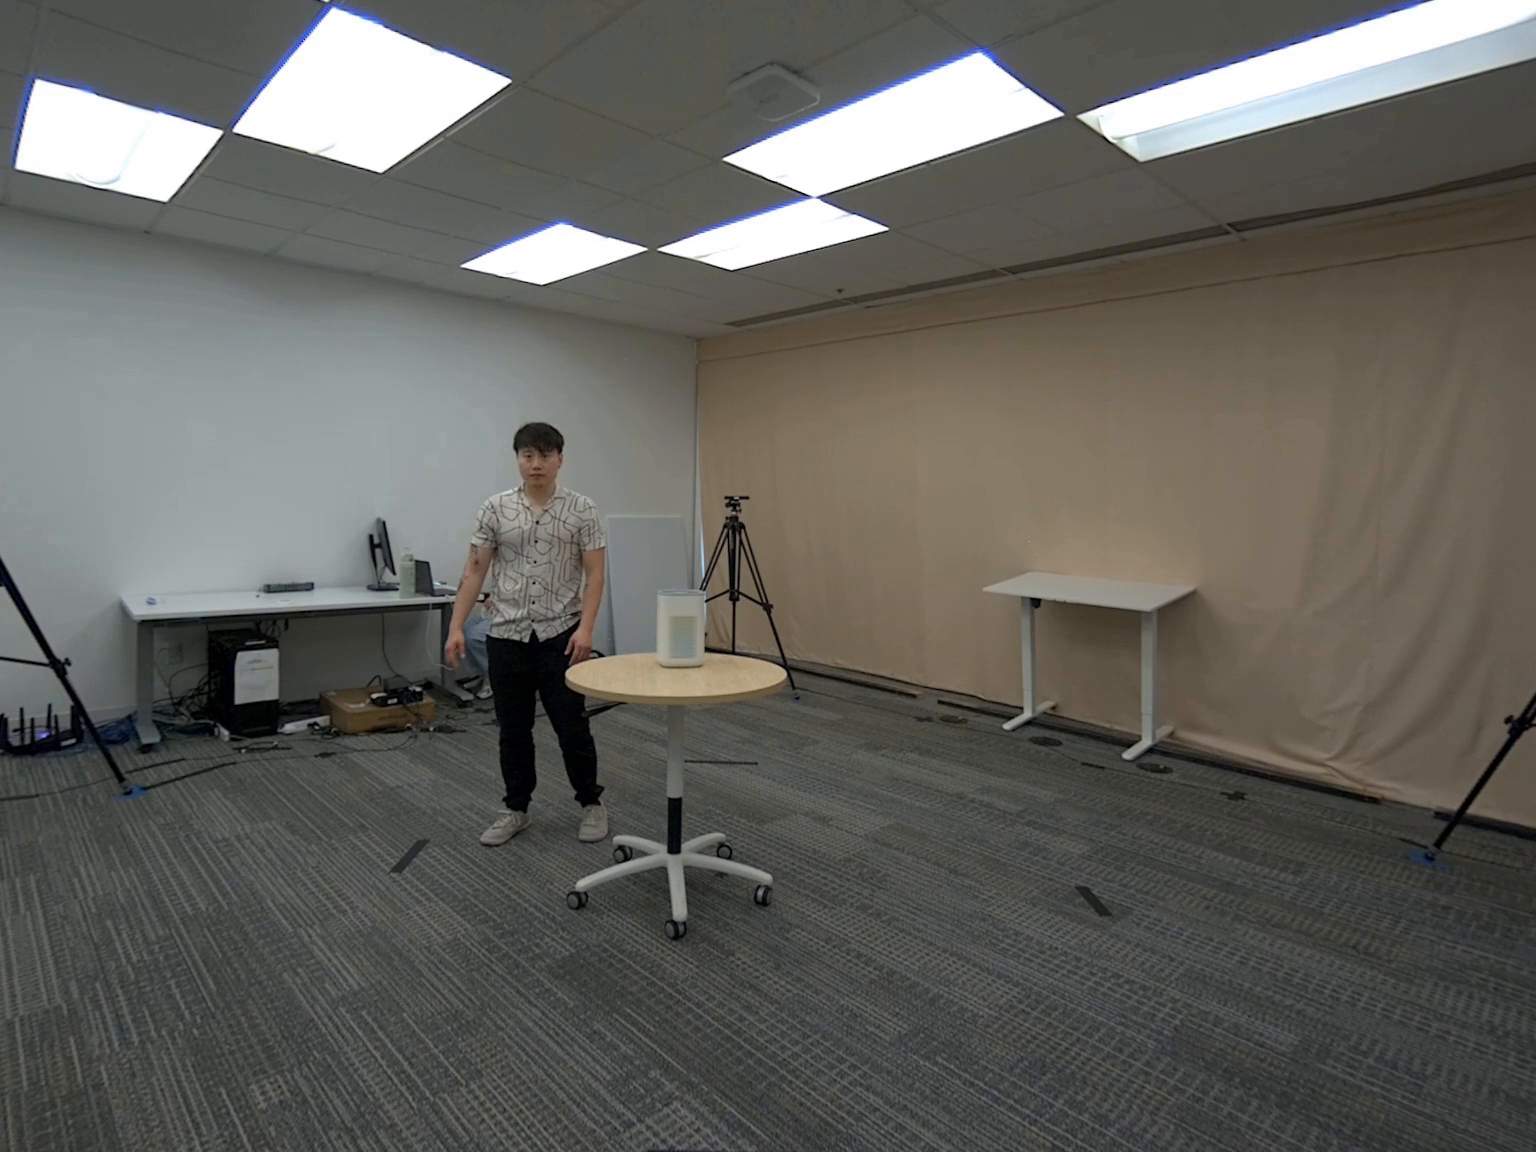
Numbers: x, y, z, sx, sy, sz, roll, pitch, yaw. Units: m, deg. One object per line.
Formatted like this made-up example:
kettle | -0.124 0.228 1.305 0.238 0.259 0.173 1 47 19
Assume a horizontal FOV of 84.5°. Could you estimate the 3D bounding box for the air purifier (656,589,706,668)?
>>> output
air purifier | -0.325 0.192 3.060 0.170 0.265 0.172 0 3 -9
